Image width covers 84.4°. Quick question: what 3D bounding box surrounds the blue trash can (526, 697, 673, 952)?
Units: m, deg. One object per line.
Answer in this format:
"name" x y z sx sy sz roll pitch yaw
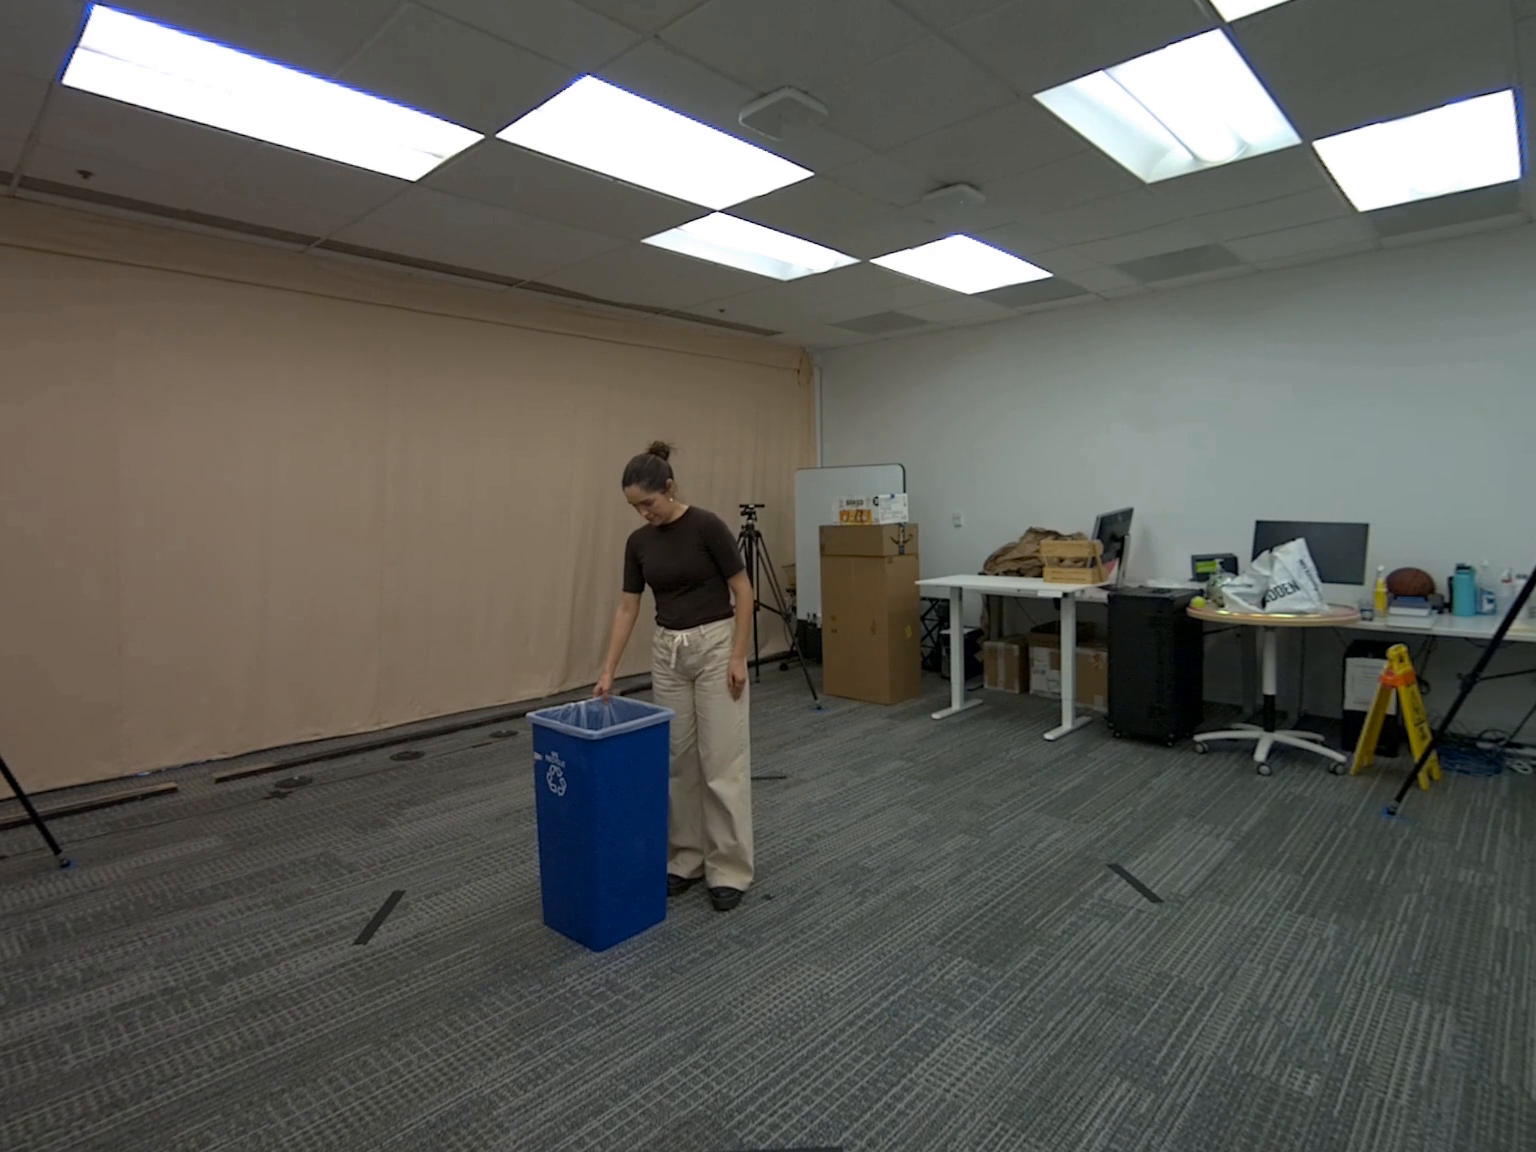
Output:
"blue trash can" -0.555 0.807 2.813 0.390 0.712 0.363 2 4 41
